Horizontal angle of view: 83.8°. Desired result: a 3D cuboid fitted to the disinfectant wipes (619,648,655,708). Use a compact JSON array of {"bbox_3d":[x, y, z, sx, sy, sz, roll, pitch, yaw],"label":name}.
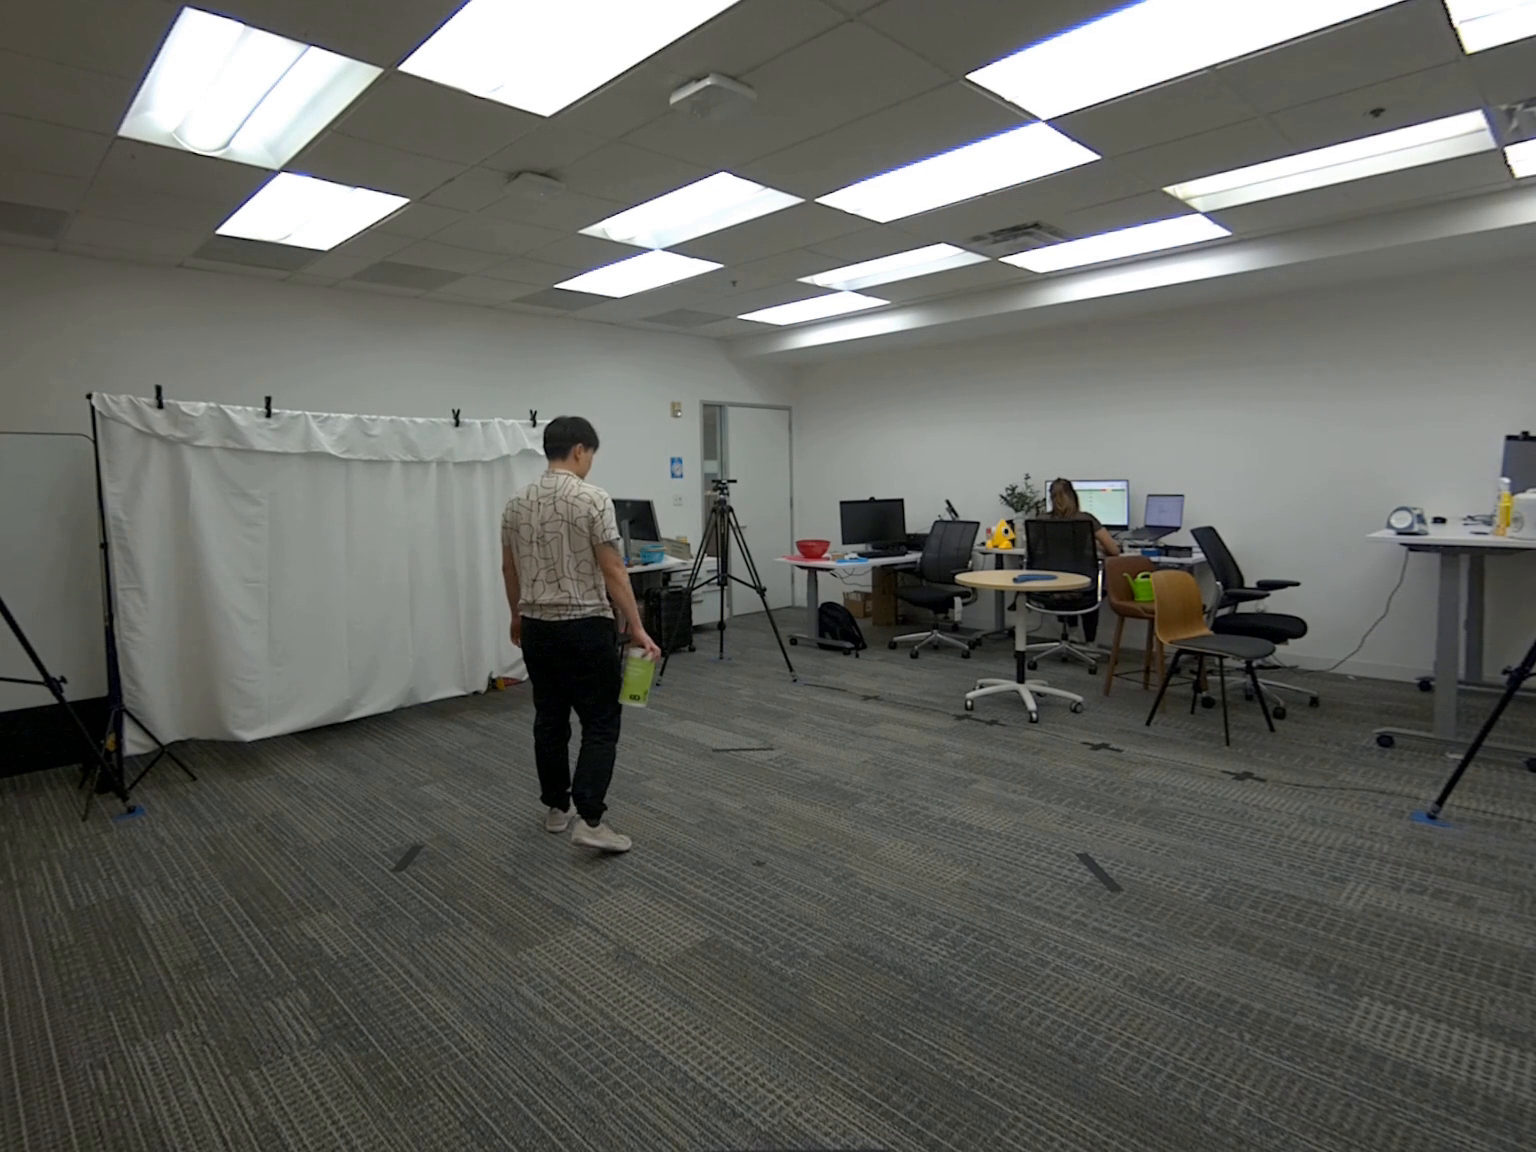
[{"bbox_3d":[-0.507,0.392,3.302,0.118,0.217,0.118,10,-1,-2],"label":"disinfectant wipes"}]
